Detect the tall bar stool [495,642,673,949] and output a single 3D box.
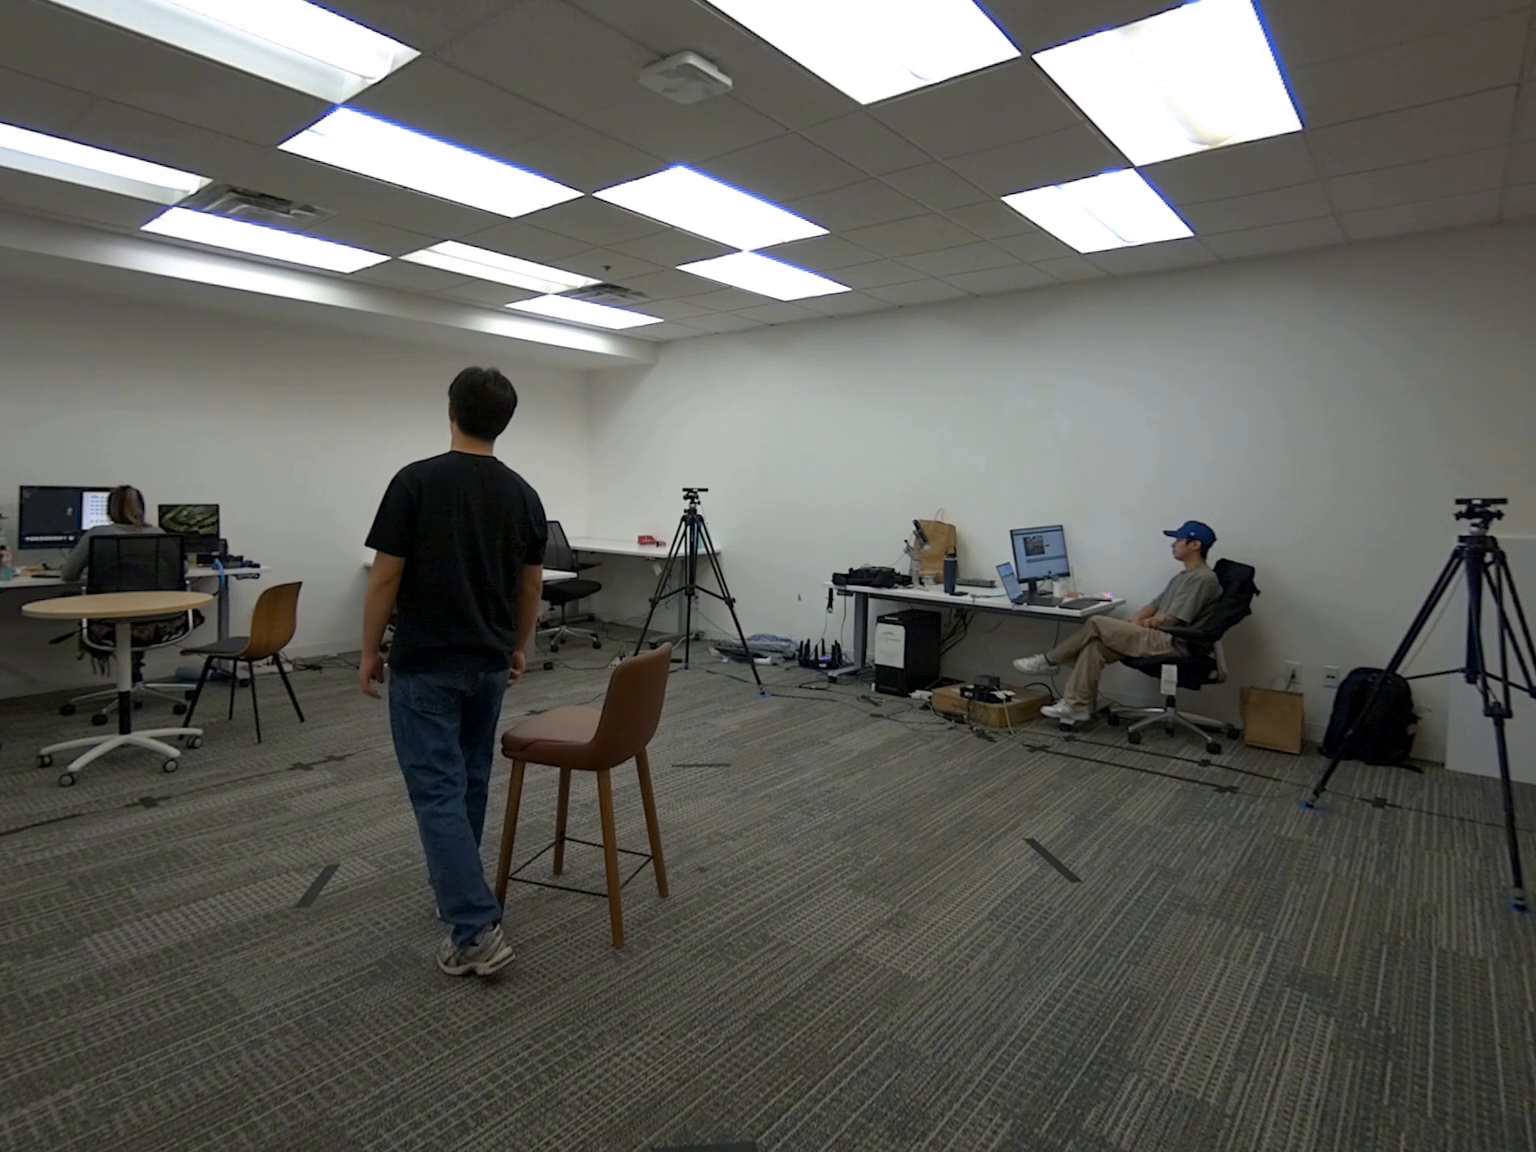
[{"bbox_3d":[-0.604,0.660,2.783,0.478,0.887,0.448,4,4,19],"label":"tall bar stool"}]
